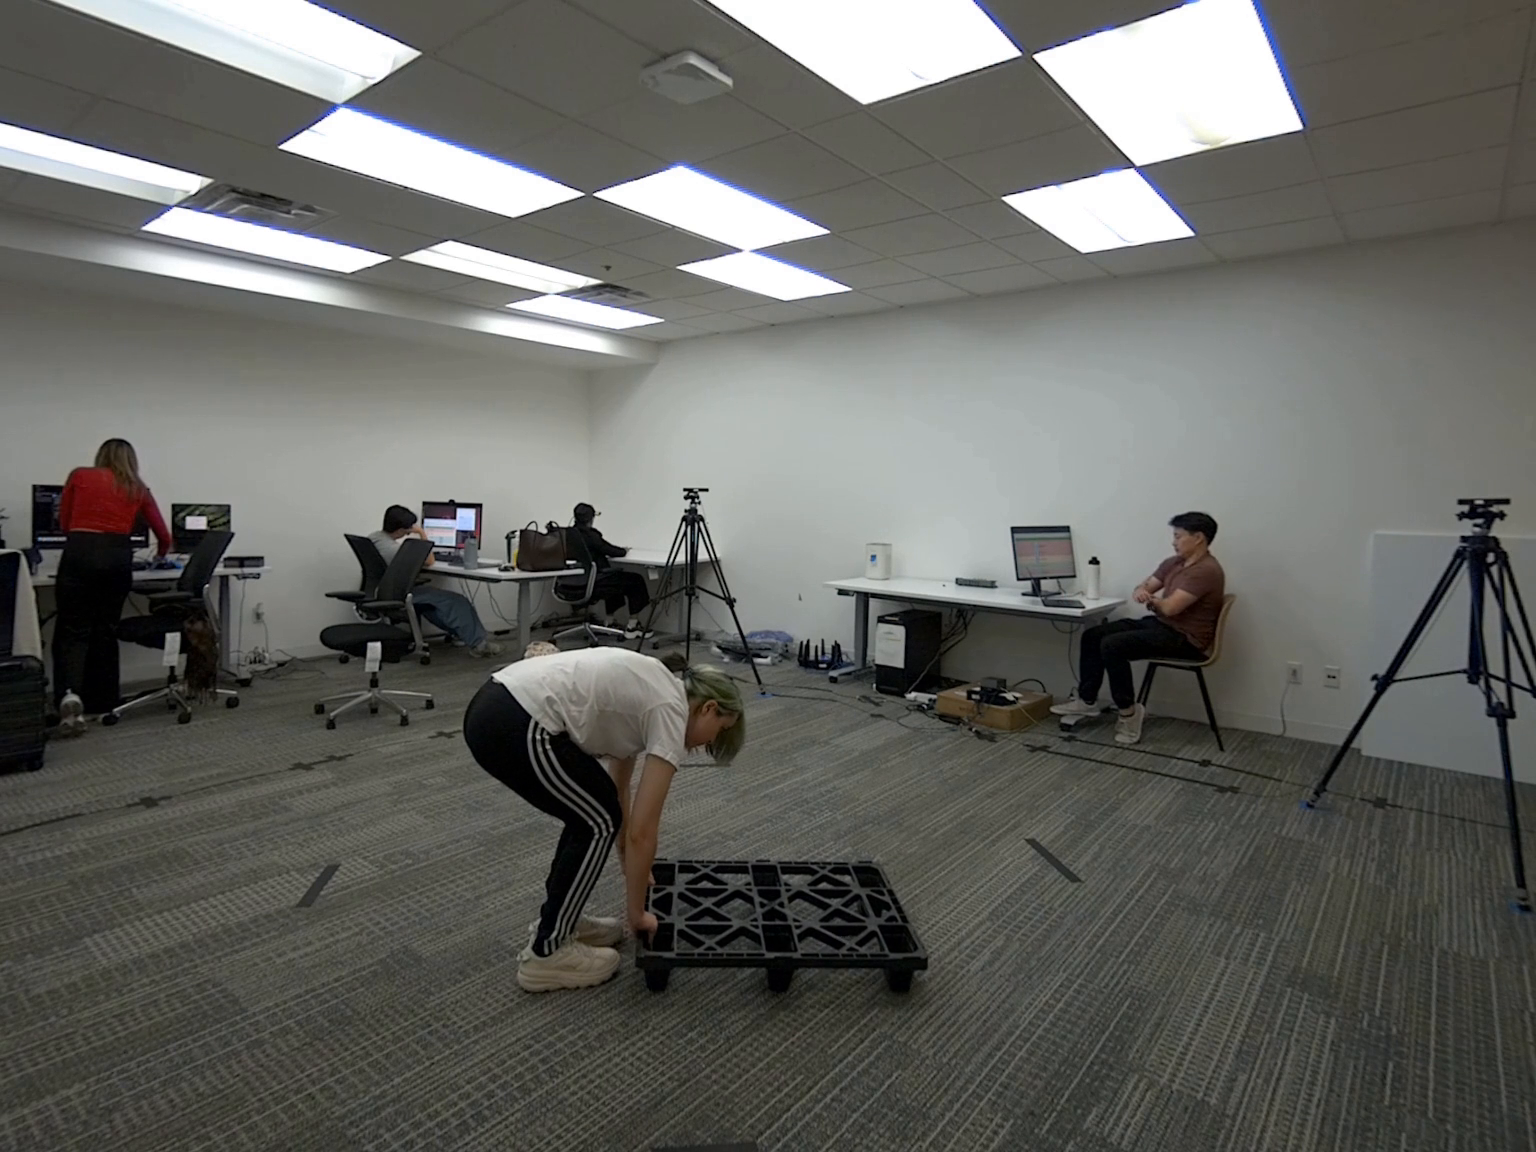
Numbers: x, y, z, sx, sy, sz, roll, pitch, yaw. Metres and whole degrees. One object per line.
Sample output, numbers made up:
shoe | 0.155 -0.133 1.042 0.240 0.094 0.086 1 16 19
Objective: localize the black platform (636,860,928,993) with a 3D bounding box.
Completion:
black platform | 0.009 1.058 2.584 0.803 0.143 0.610 1 6 -4
